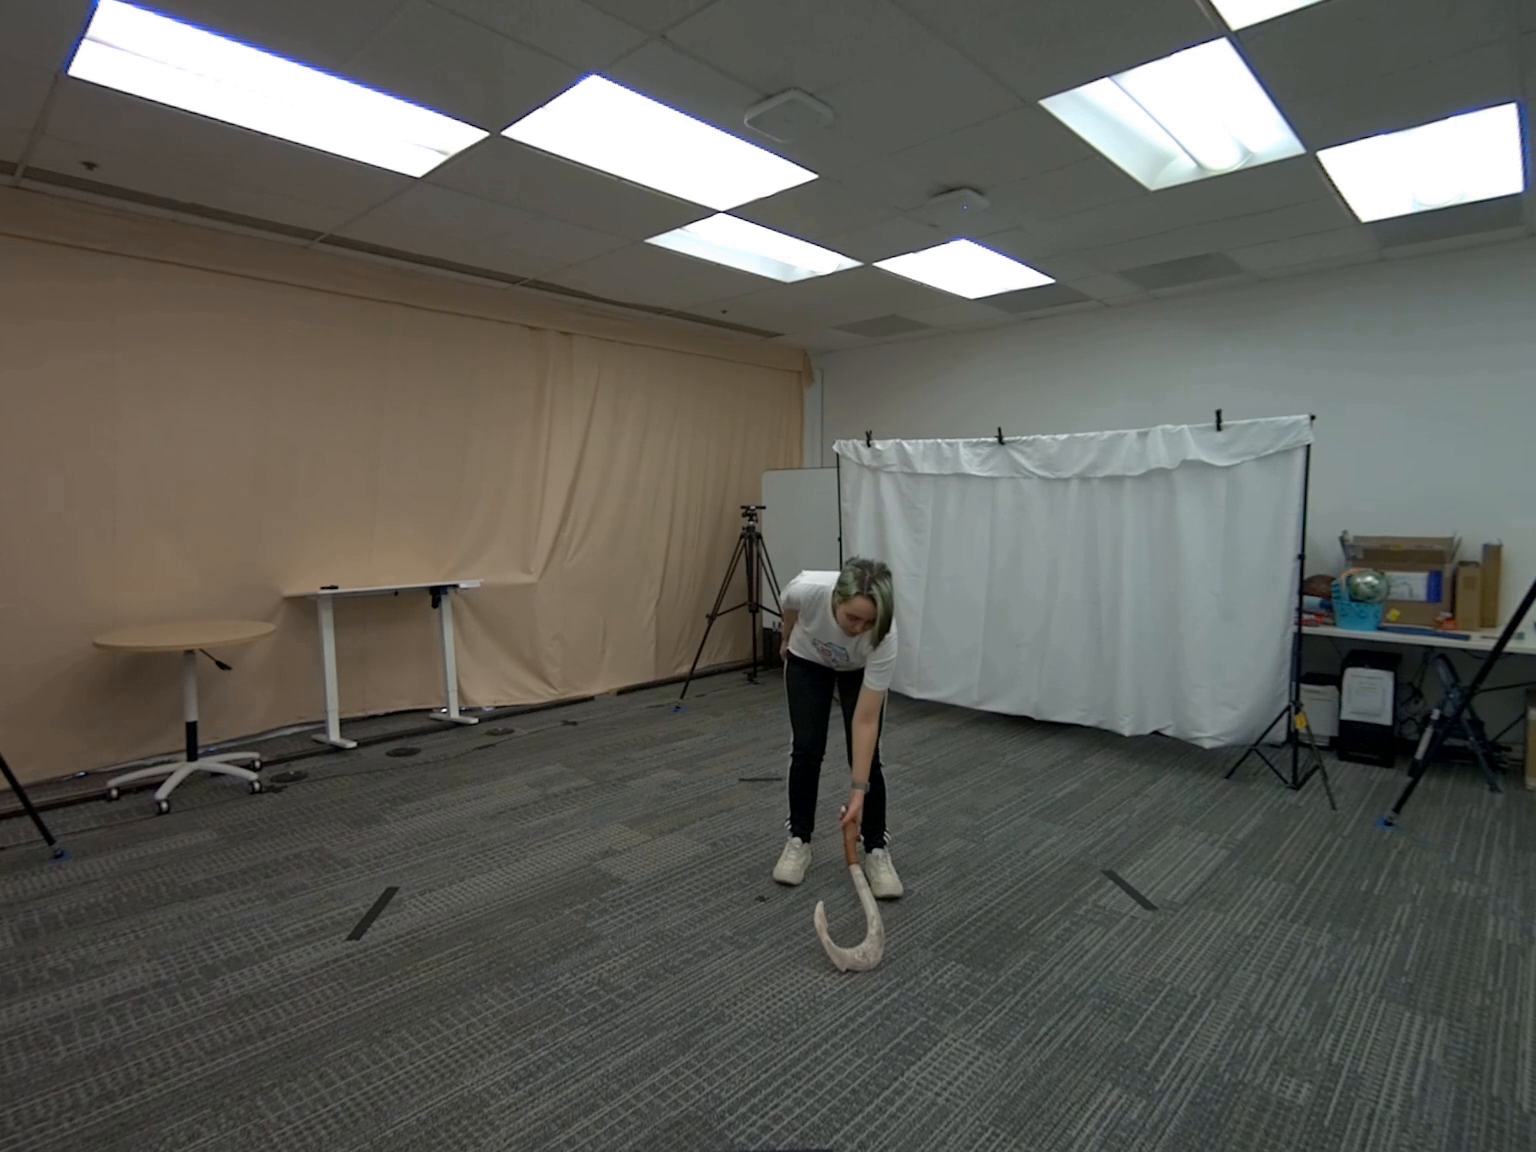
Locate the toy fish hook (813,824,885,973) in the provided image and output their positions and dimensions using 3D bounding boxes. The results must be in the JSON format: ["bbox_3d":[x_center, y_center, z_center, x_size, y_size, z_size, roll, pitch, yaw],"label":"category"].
[{"bbox_3d":[0.251,0.972,2.650,0.221,0.517,0.048,6,-37,-16],"label":"toy fish hook"}]
